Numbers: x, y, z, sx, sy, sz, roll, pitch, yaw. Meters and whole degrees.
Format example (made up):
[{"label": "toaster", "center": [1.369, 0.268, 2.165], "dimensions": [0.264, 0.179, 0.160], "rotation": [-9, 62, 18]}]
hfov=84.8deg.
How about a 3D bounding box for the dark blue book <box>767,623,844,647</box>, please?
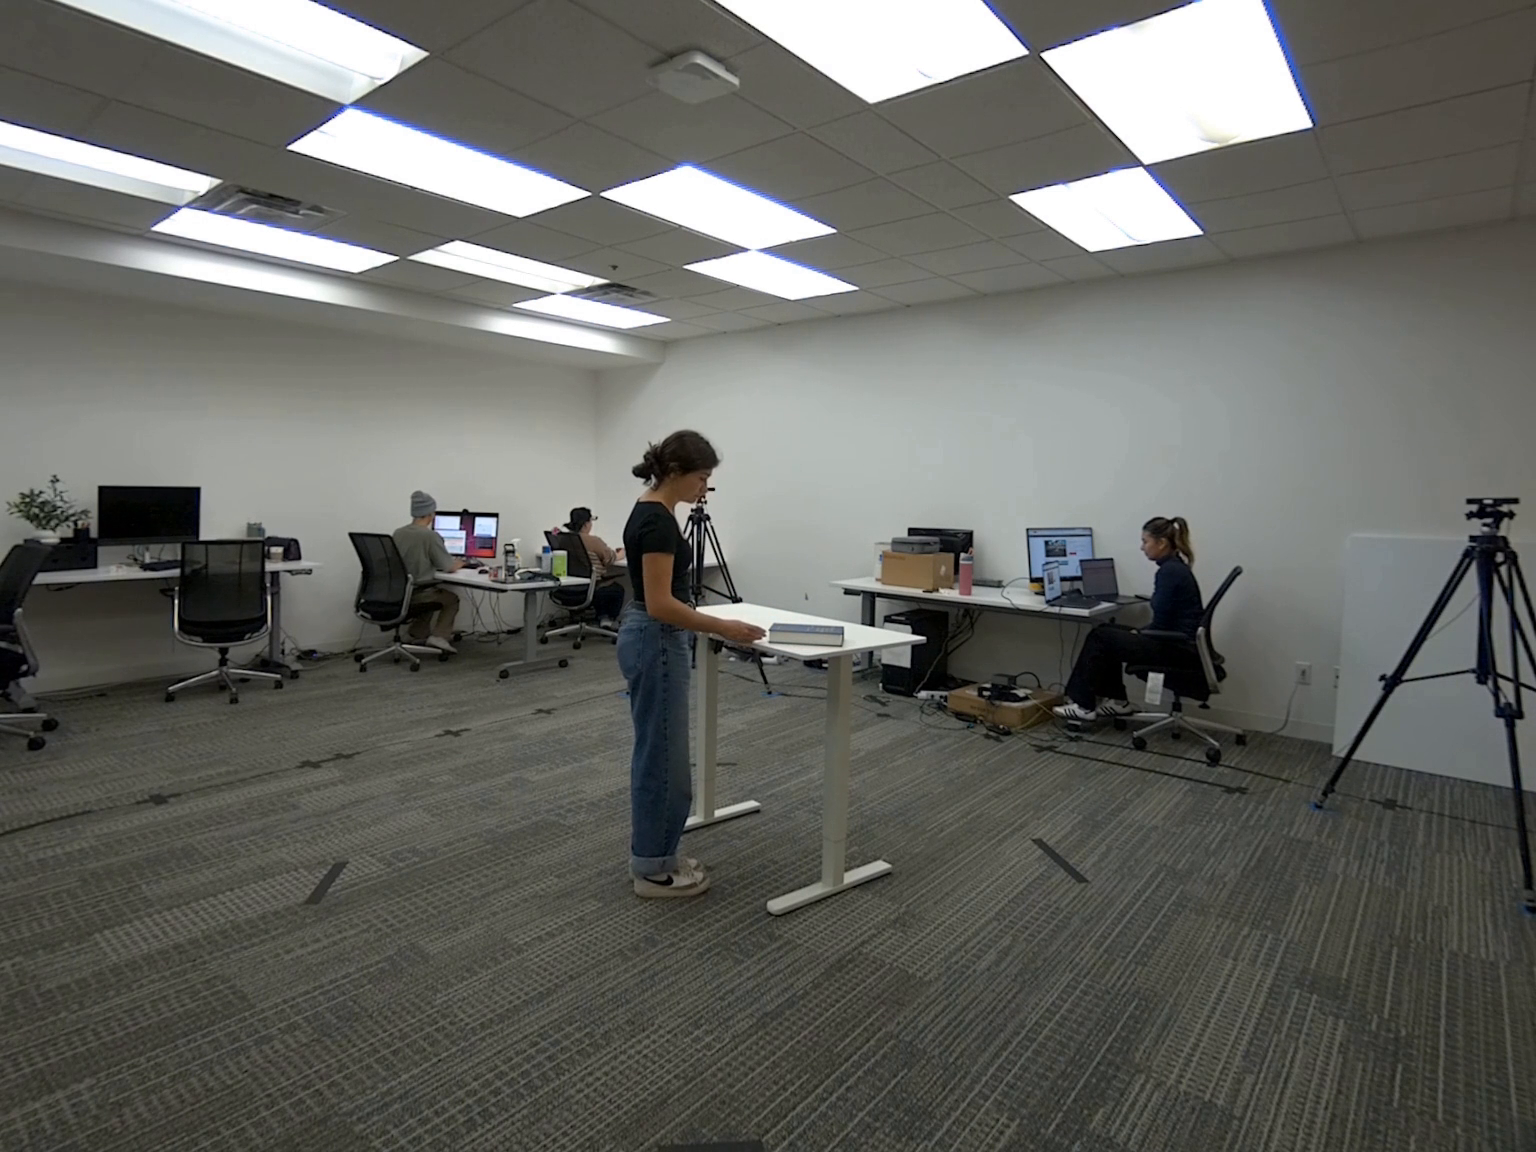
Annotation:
[{"label": "dark blue book", "center": [0.124, 0.200, 2.882], "dimensions": [0.248, 0.045, 0.162], "rotation": [3, 8, 10]}]
